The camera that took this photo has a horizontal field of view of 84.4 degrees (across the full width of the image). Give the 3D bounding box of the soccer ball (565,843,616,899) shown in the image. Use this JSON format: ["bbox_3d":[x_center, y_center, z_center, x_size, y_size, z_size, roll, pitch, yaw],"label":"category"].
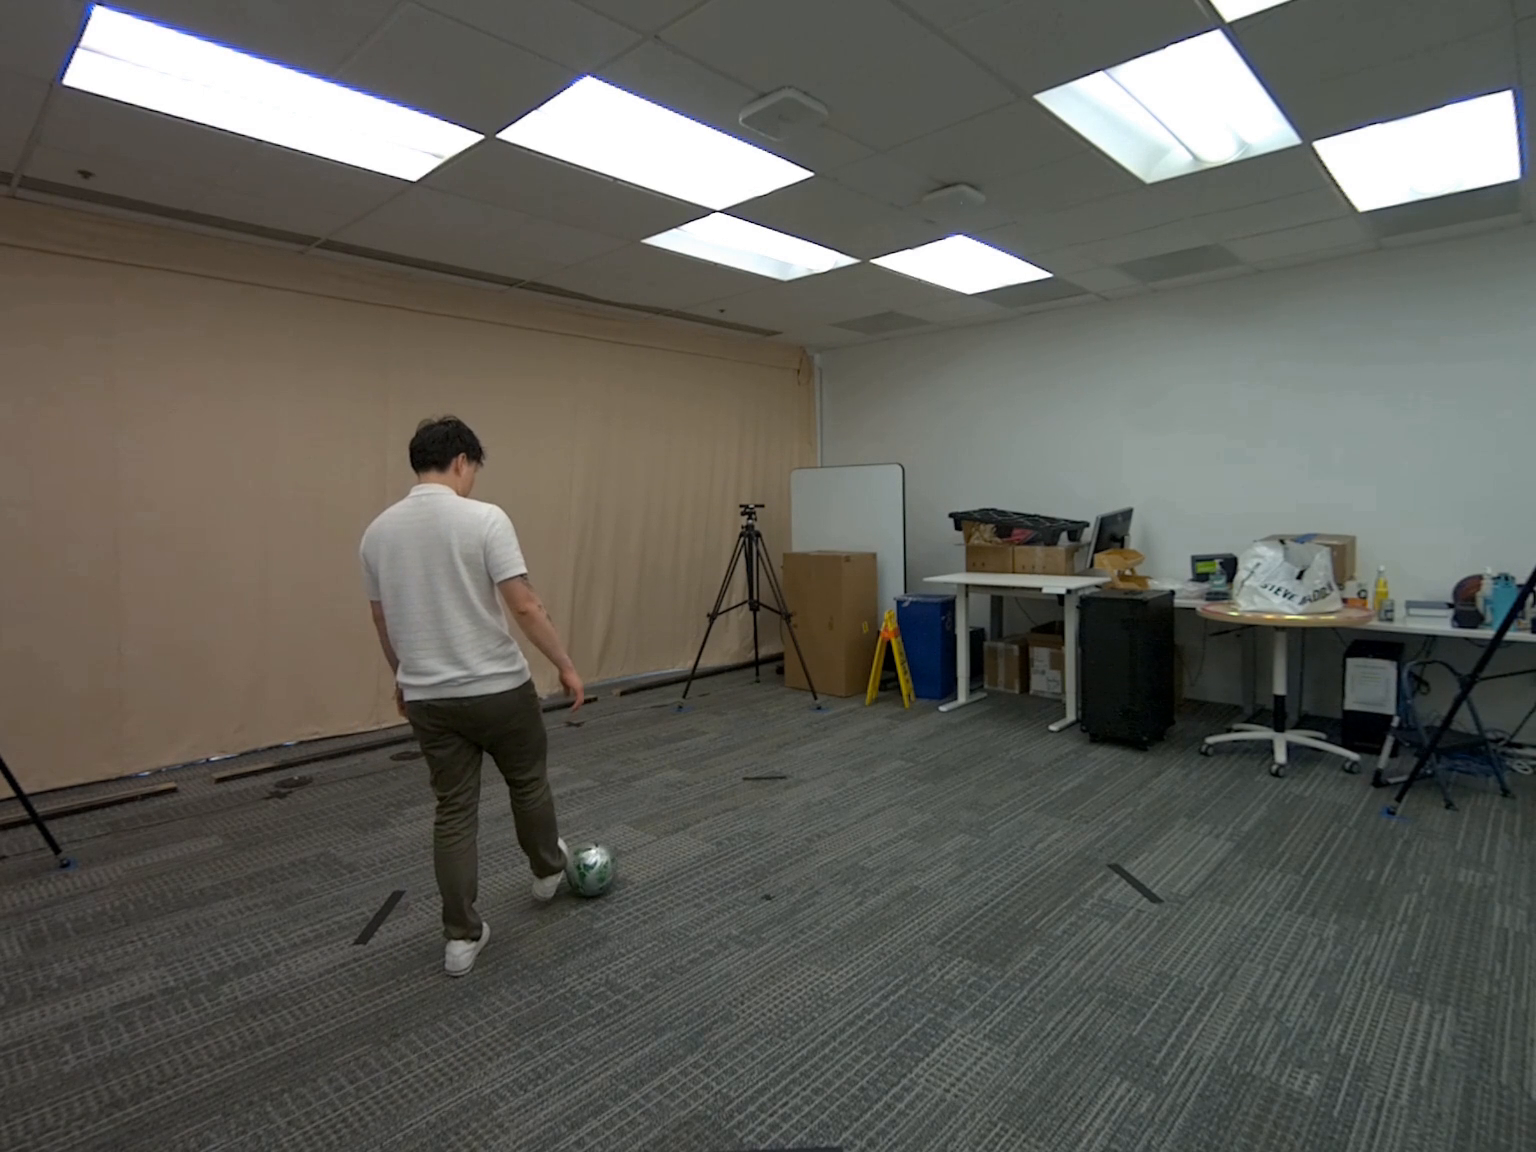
[{"bbox_3d":[-0.633,1.056,3.031,0.187,0.187,0.188,-1,4,-2],"label":"soccer ball"}]
